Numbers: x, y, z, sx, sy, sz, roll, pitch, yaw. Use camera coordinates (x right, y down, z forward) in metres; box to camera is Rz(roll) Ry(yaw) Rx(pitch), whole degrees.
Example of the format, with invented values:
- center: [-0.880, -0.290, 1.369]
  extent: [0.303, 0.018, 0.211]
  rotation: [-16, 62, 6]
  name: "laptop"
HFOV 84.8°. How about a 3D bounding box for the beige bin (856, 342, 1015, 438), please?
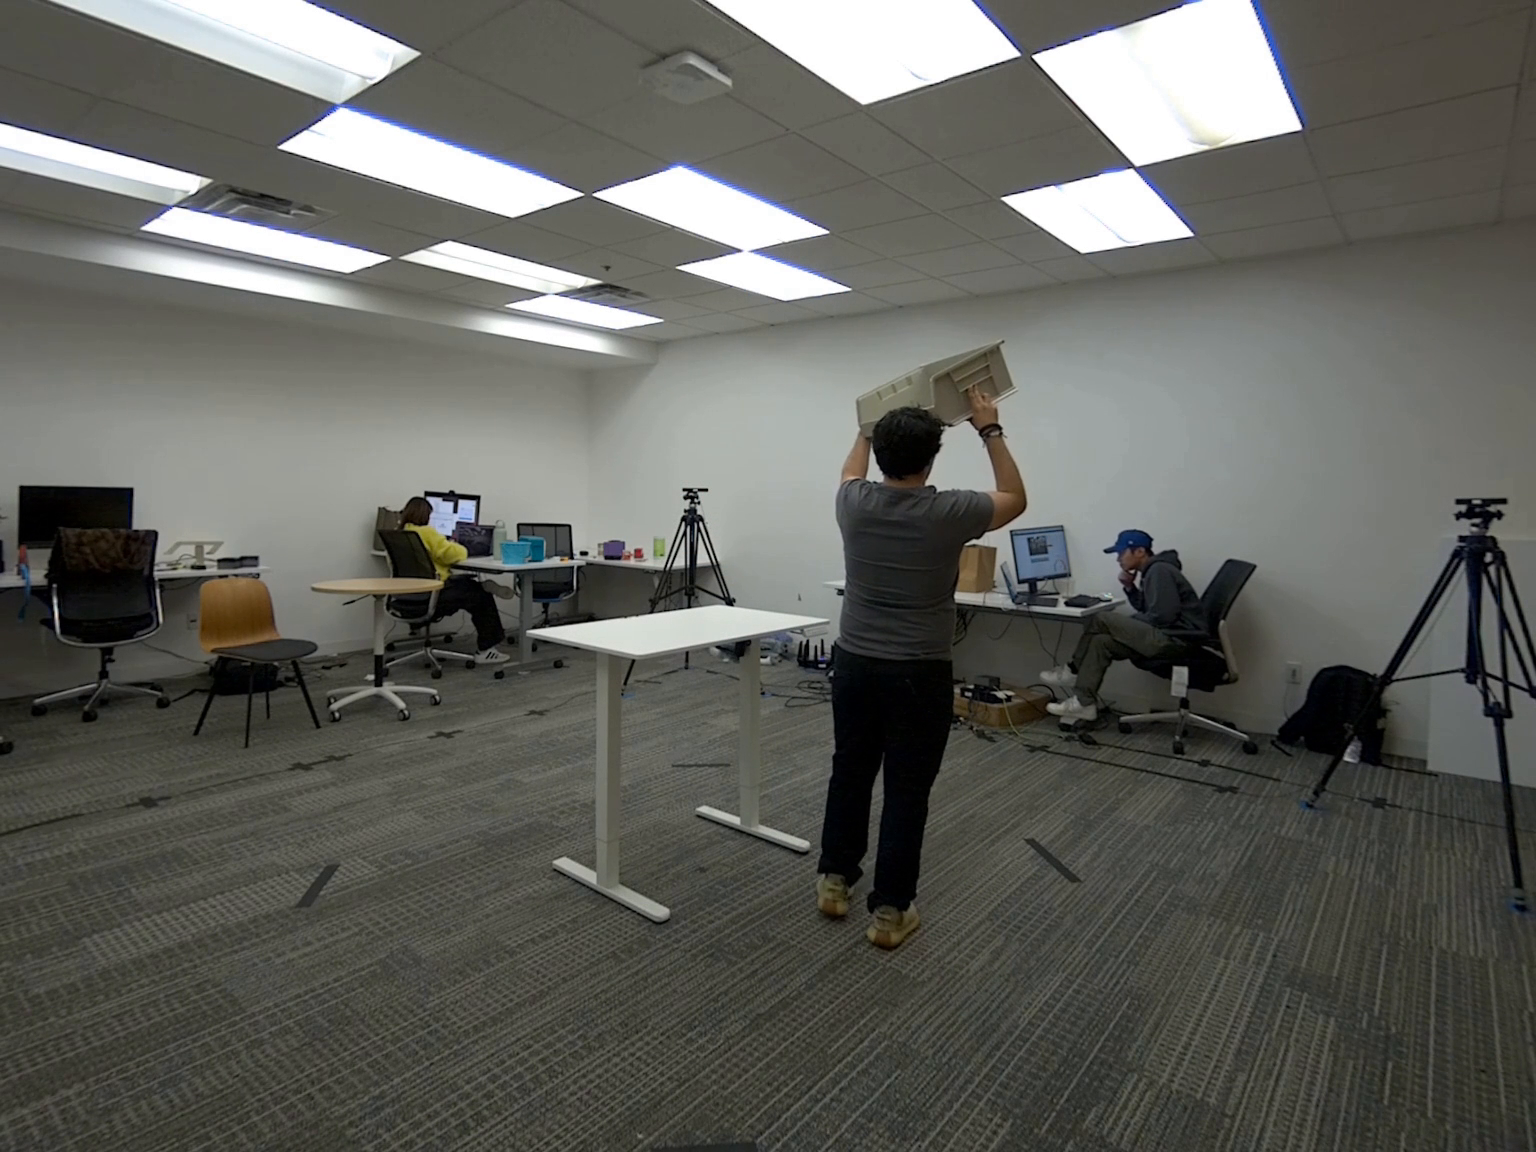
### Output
- center: [0.566, -0.632, 2.969]
  extent: [0.373, 0.186, 0.433]
  rotation: [-29, 13, -24]
  name: "beige bin"
